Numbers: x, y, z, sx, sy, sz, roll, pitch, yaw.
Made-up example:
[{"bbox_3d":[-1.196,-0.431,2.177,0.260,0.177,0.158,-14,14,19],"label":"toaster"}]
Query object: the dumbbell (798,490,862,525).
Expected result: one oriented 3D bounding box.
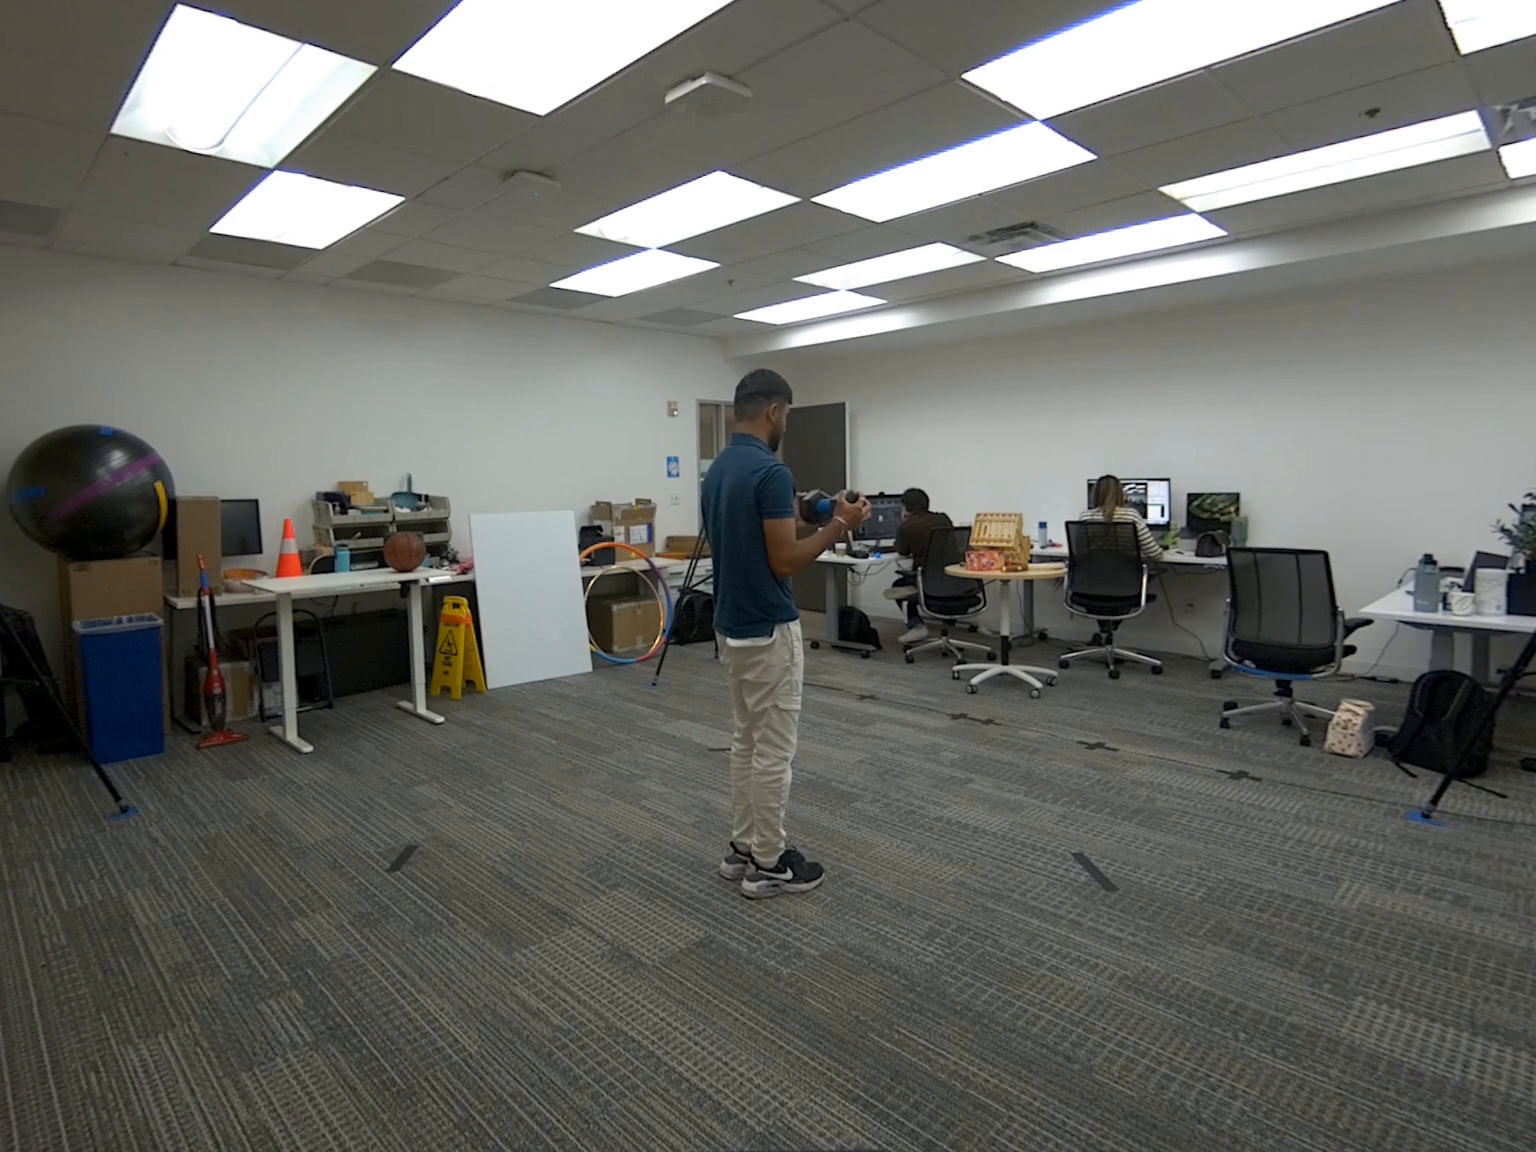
[{"bbox_3d":[0.213,-0.227,2.980,0.106,0.122,0.302,-3,8,-27],"label":"dumbbell"}]
